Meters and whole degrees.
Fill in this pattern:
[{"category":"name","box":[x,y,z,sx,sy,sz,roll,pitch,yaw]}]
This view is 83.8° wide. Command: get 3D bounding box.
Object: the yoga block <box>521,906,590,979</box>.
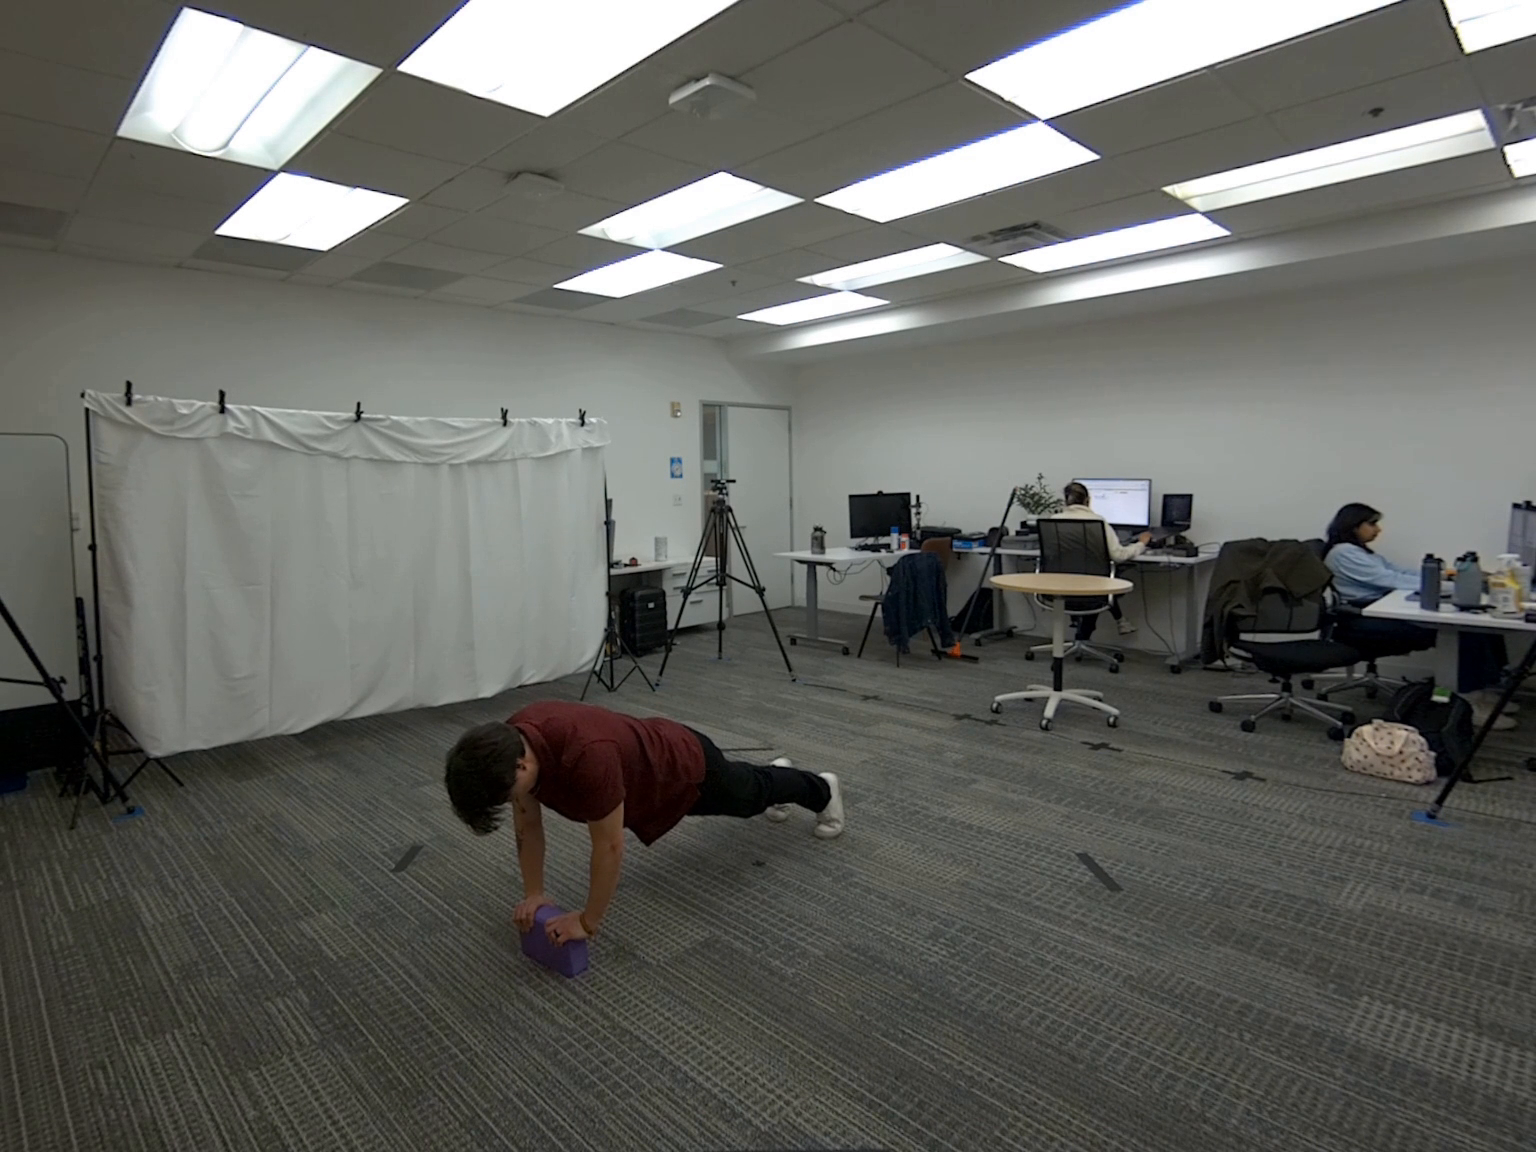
[{"category":"yoga block","box":[-0.625,1.062,2.500,0.236,0.147,0.075,4,13,37]}]
